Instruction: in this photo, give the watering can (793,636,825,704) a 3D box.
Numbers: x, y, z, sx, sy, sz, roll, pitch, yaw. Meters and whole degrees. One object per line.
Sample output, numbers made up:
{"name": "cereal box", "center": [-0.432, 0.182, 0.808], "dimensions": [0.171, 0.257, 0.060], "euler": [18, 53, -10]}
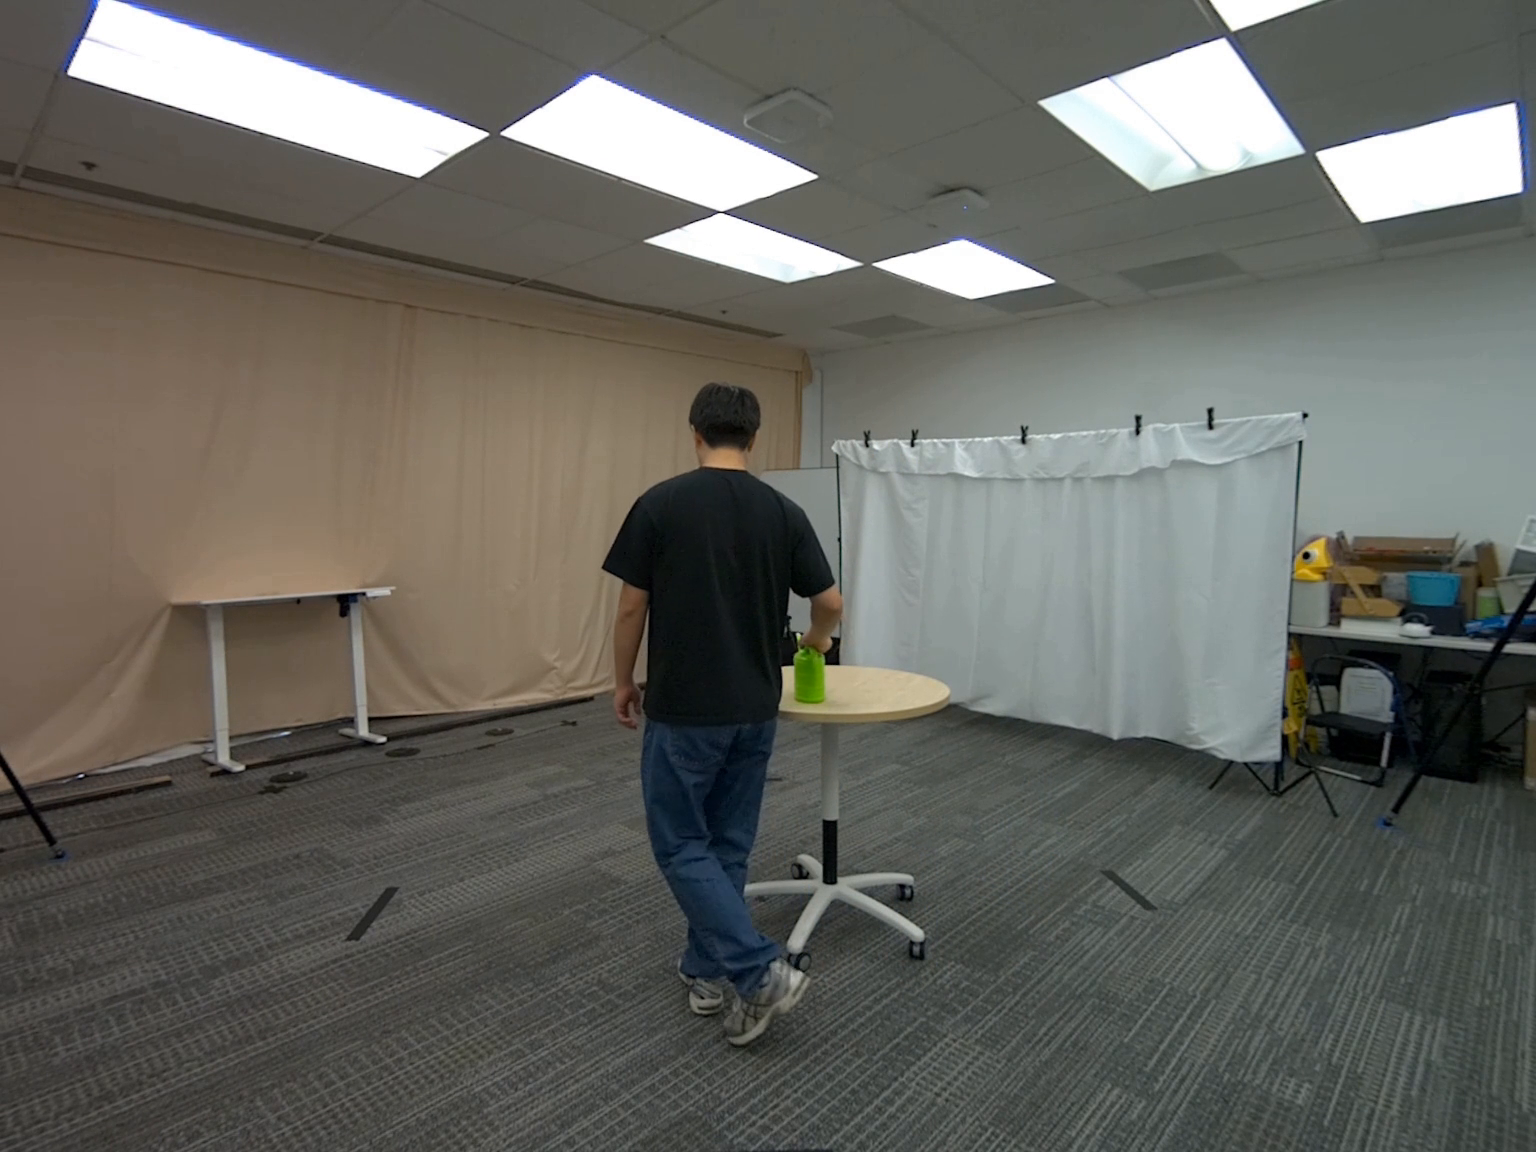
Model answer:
{"name": "watering can", "center": [0.126, 0.293, 2.625], "dimensions": [0.098, 0.176, 0.279], "euler": [0, 7, 0]}
